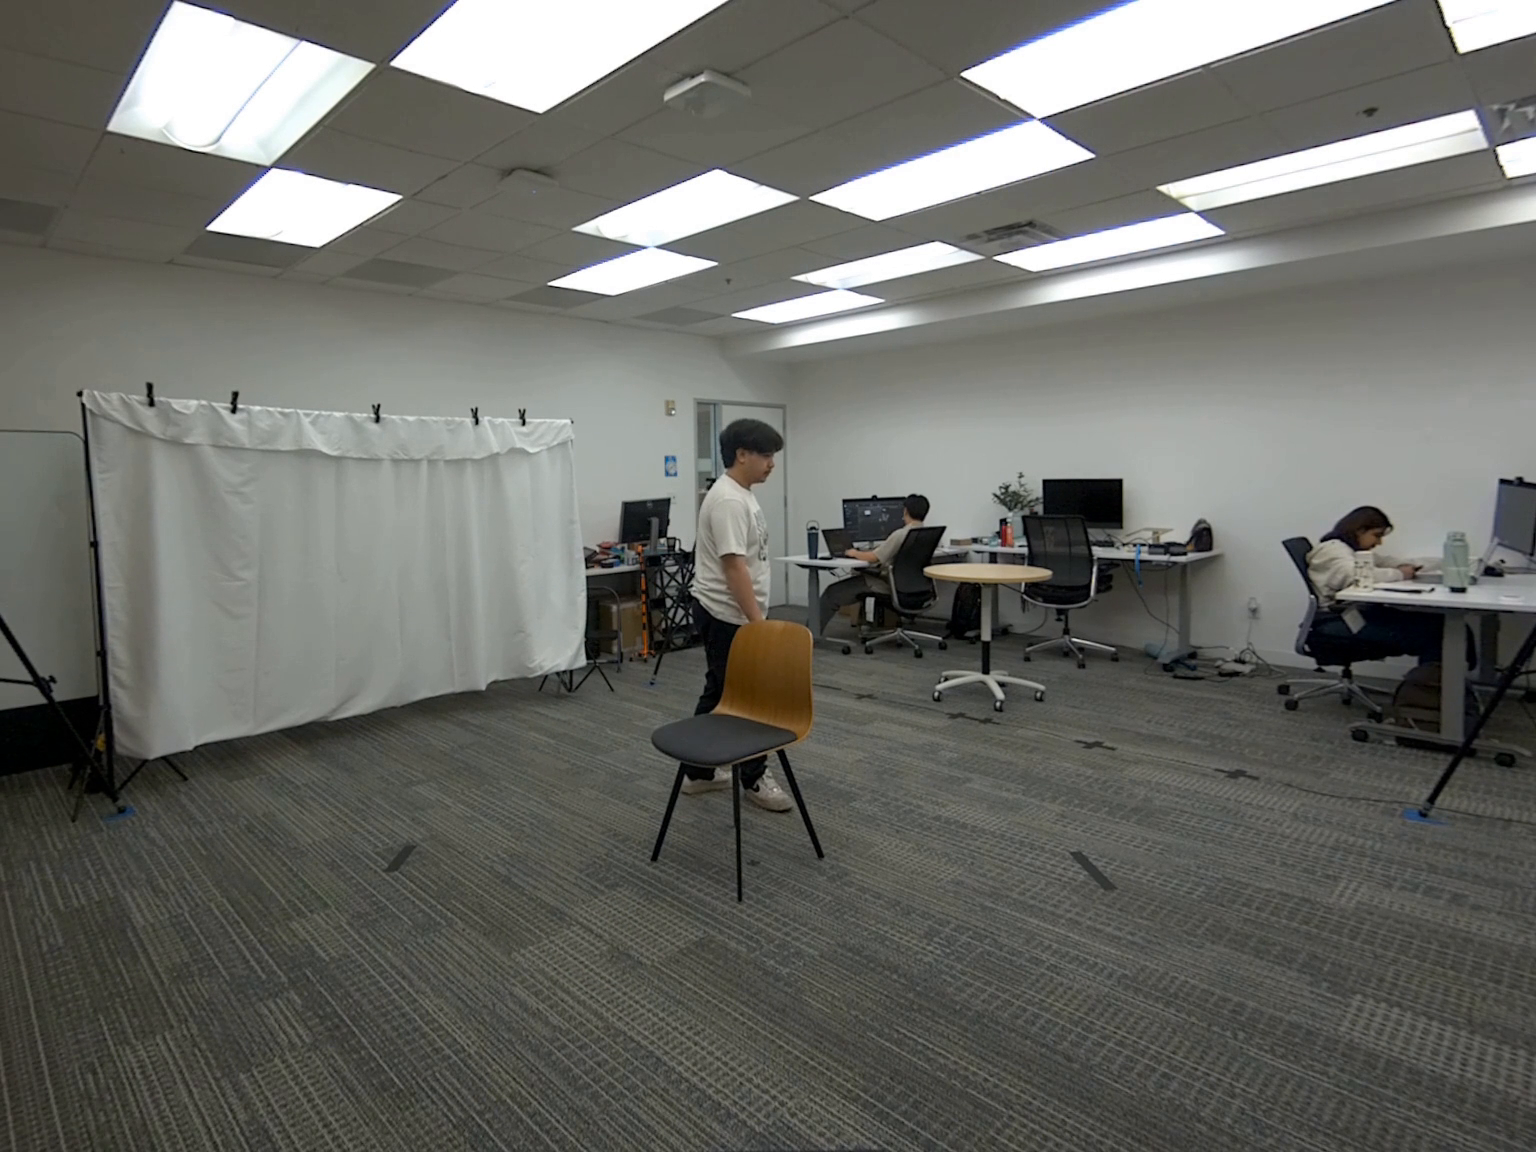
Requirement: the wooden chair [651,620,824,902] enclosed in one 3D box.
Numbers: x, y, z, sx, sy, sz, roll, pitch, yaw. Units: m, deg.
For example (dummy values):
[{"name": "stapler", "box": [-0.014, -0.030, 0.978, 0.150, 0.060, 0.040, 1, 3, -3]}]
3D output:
[{"name": "wooden chair", "box": [-0.121, 0.618, 3.093, 0.493, 0.877, 0.508, 3, 2, 44]}]
